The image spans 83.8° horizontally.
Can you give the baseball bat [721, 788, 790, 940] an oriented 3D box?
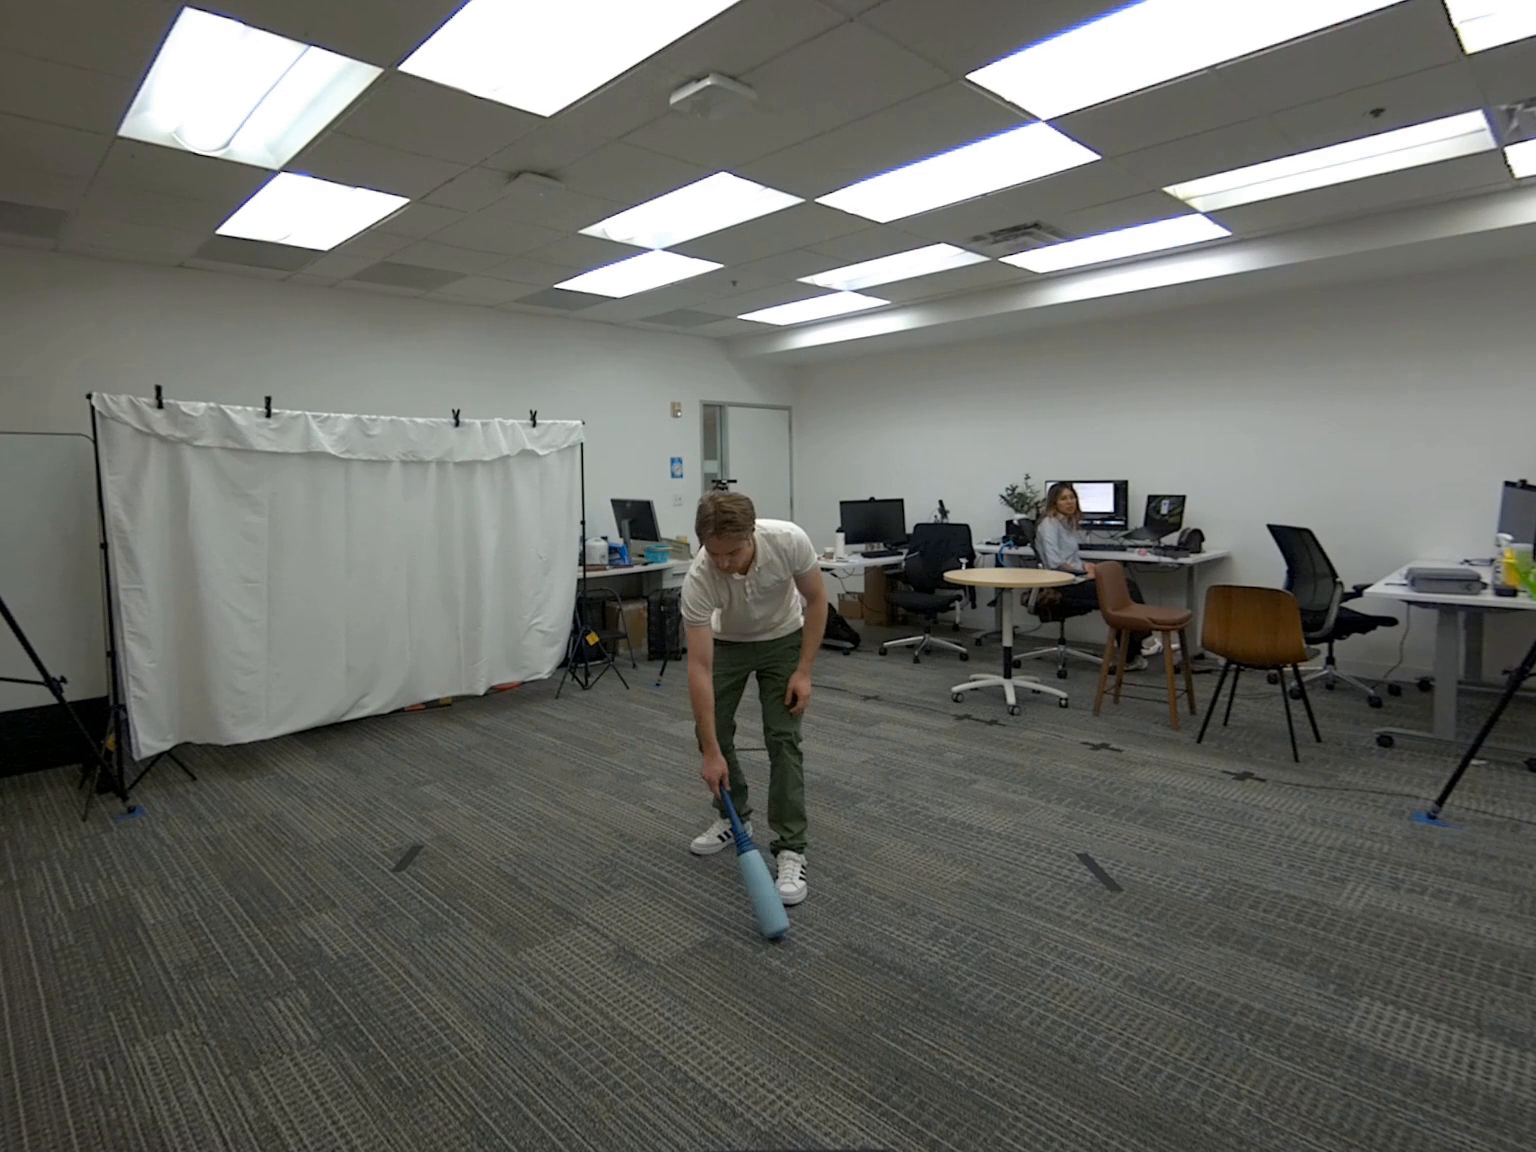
[{"bbox_3d":[-0.073,0.867,2.720,0.088,0.560,0.087,-18,-29,-11],"label":"baseball bat"}]
